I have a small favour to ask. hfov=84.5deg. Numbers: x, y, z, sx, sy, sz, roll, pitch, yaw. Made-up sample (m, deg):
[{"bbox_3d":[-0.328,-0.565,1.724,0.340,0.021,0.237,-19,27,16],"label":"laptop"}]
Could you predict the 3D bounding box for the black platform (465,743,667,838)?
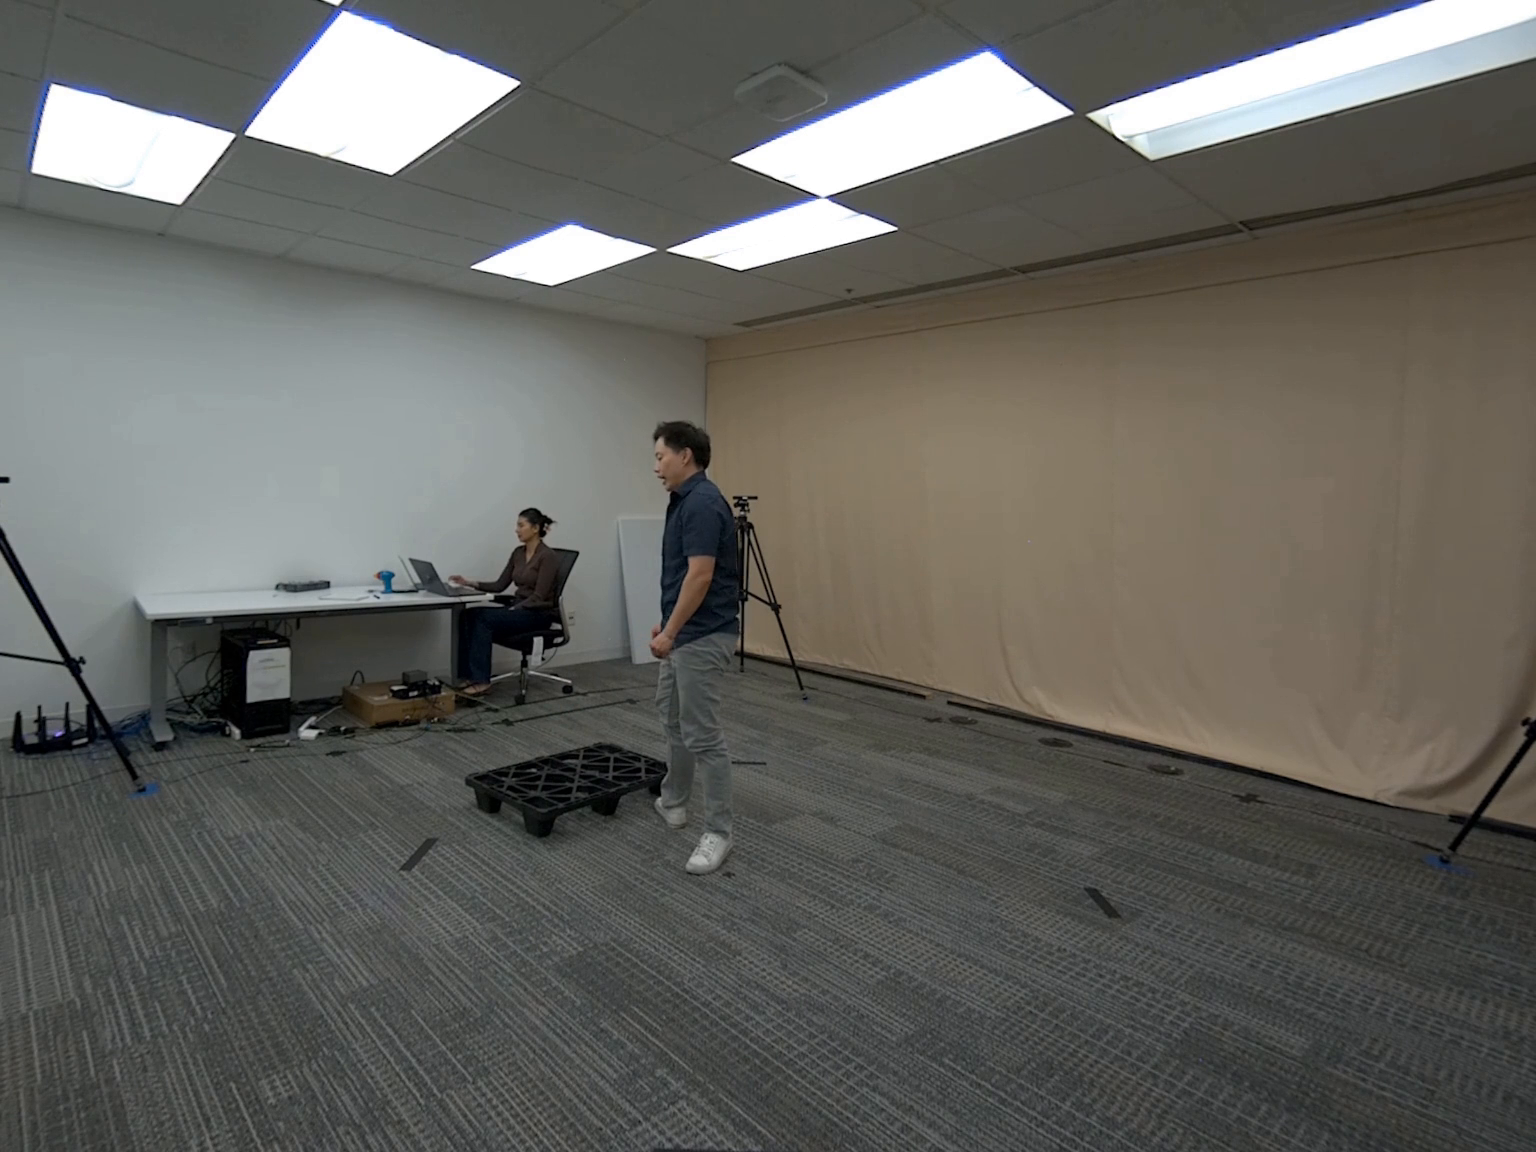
[{"bbox_3d":[-0.881,0.957,3.823,0.620,0.143,0.787,5,6,41],"label":"black platform"}]
